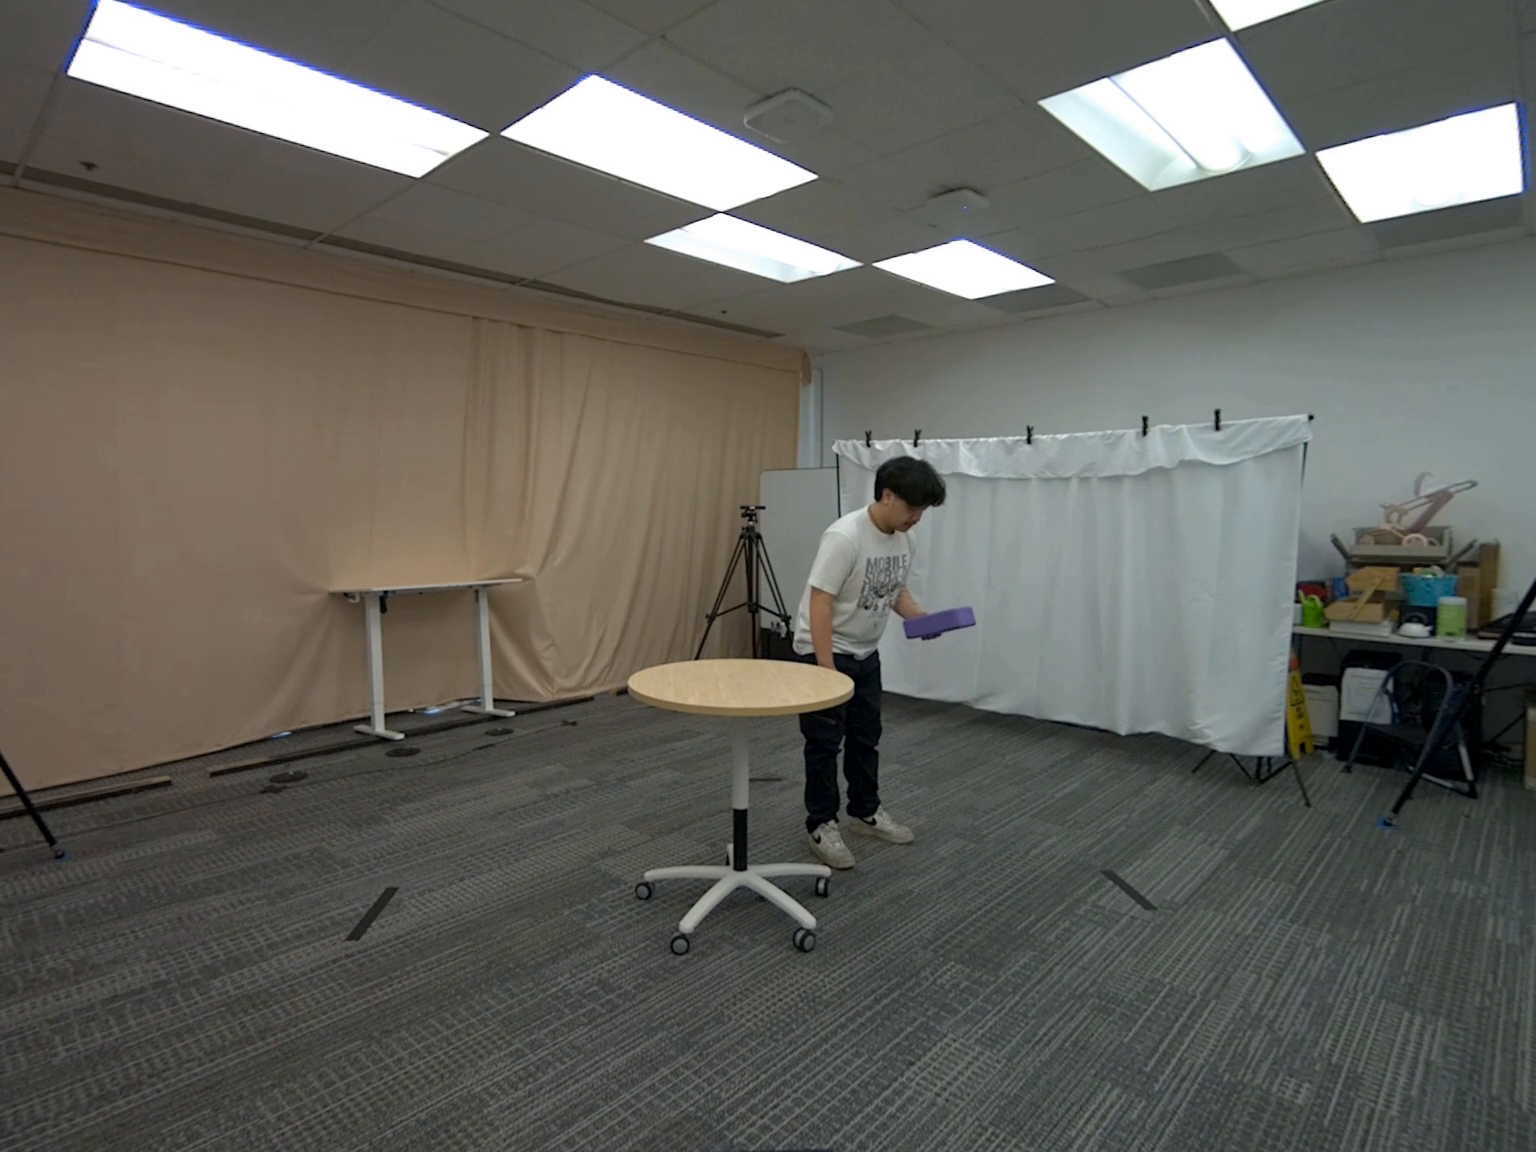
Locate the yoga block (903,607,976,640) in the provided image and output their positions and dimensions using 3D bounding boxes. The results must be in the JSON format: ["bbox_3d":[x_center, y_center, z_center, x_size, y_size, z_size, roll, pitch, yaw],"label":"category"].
[{"bbox_3d":[0.648,0.173,3.192,0.235,0.077,0.144,-17,-9,37],"label":"yoga block"}]
